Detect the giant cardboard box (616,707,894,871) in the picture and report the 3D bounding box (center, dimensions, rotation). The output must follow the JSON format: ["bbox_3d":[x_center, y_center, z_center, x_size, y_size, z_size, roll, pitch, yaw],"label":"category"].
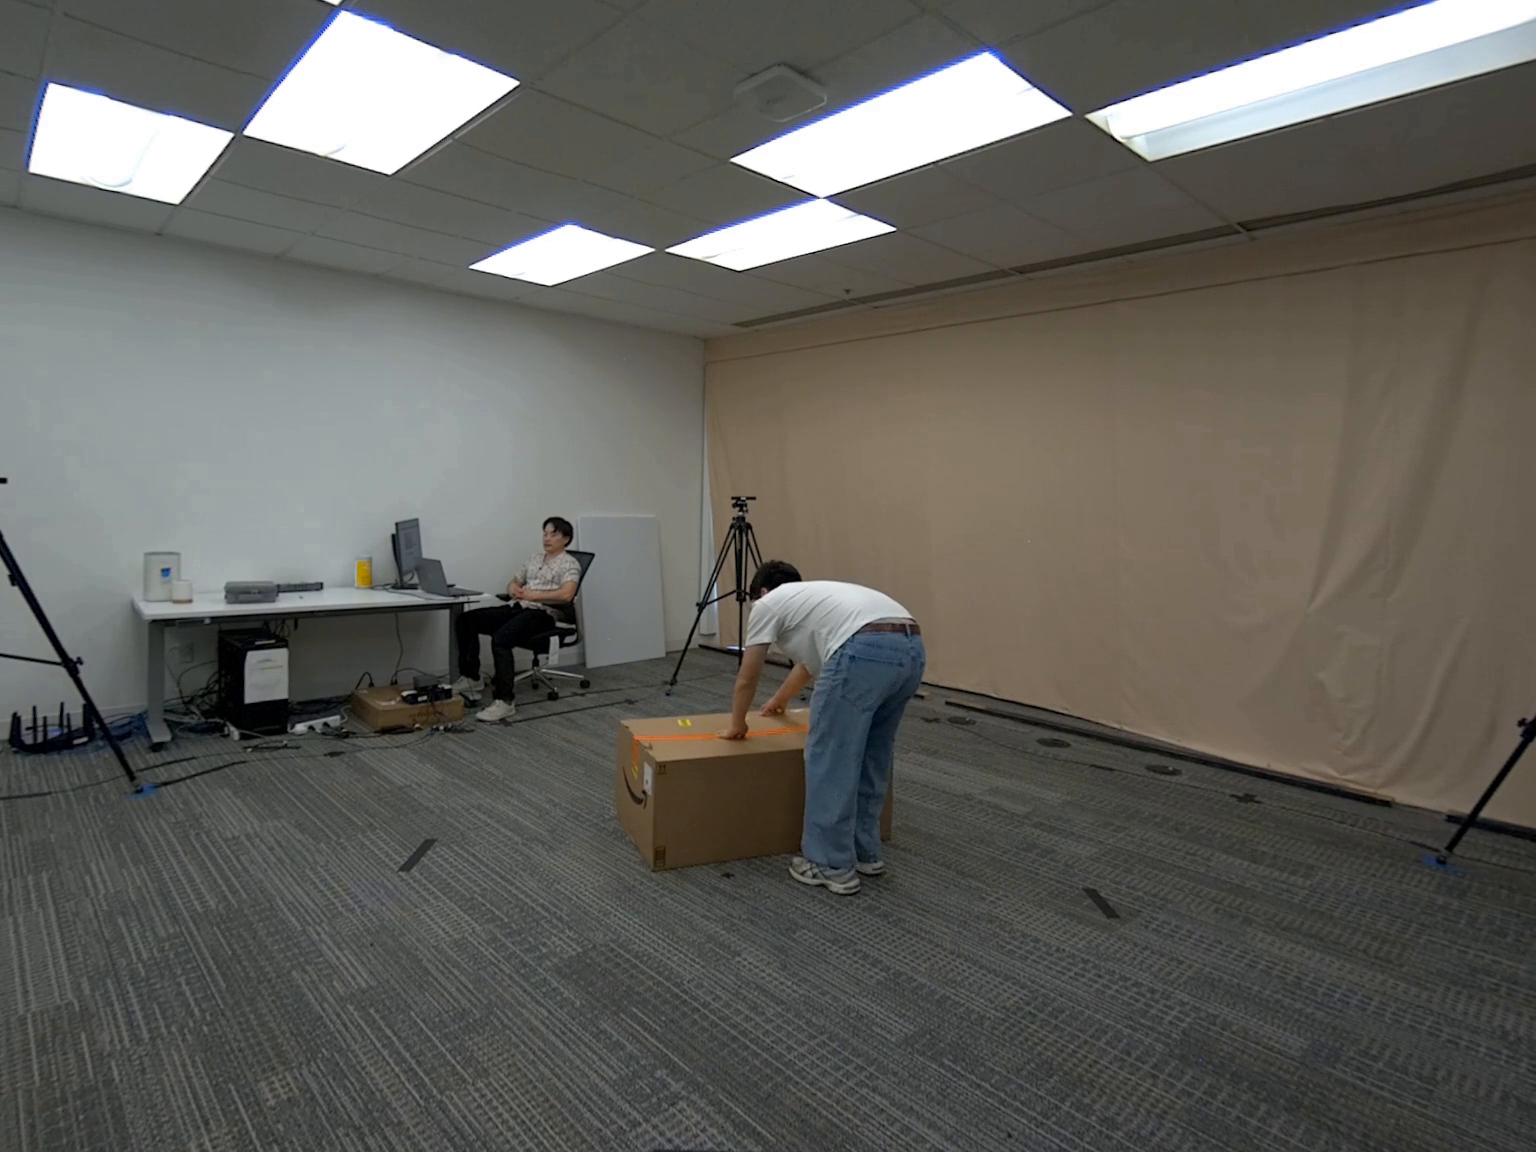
[{"bbox_3d":[-0.074,0.855,3.545,1.009,0.425,0.588,0,4,-22],"label":"giant cardboard box"}]
